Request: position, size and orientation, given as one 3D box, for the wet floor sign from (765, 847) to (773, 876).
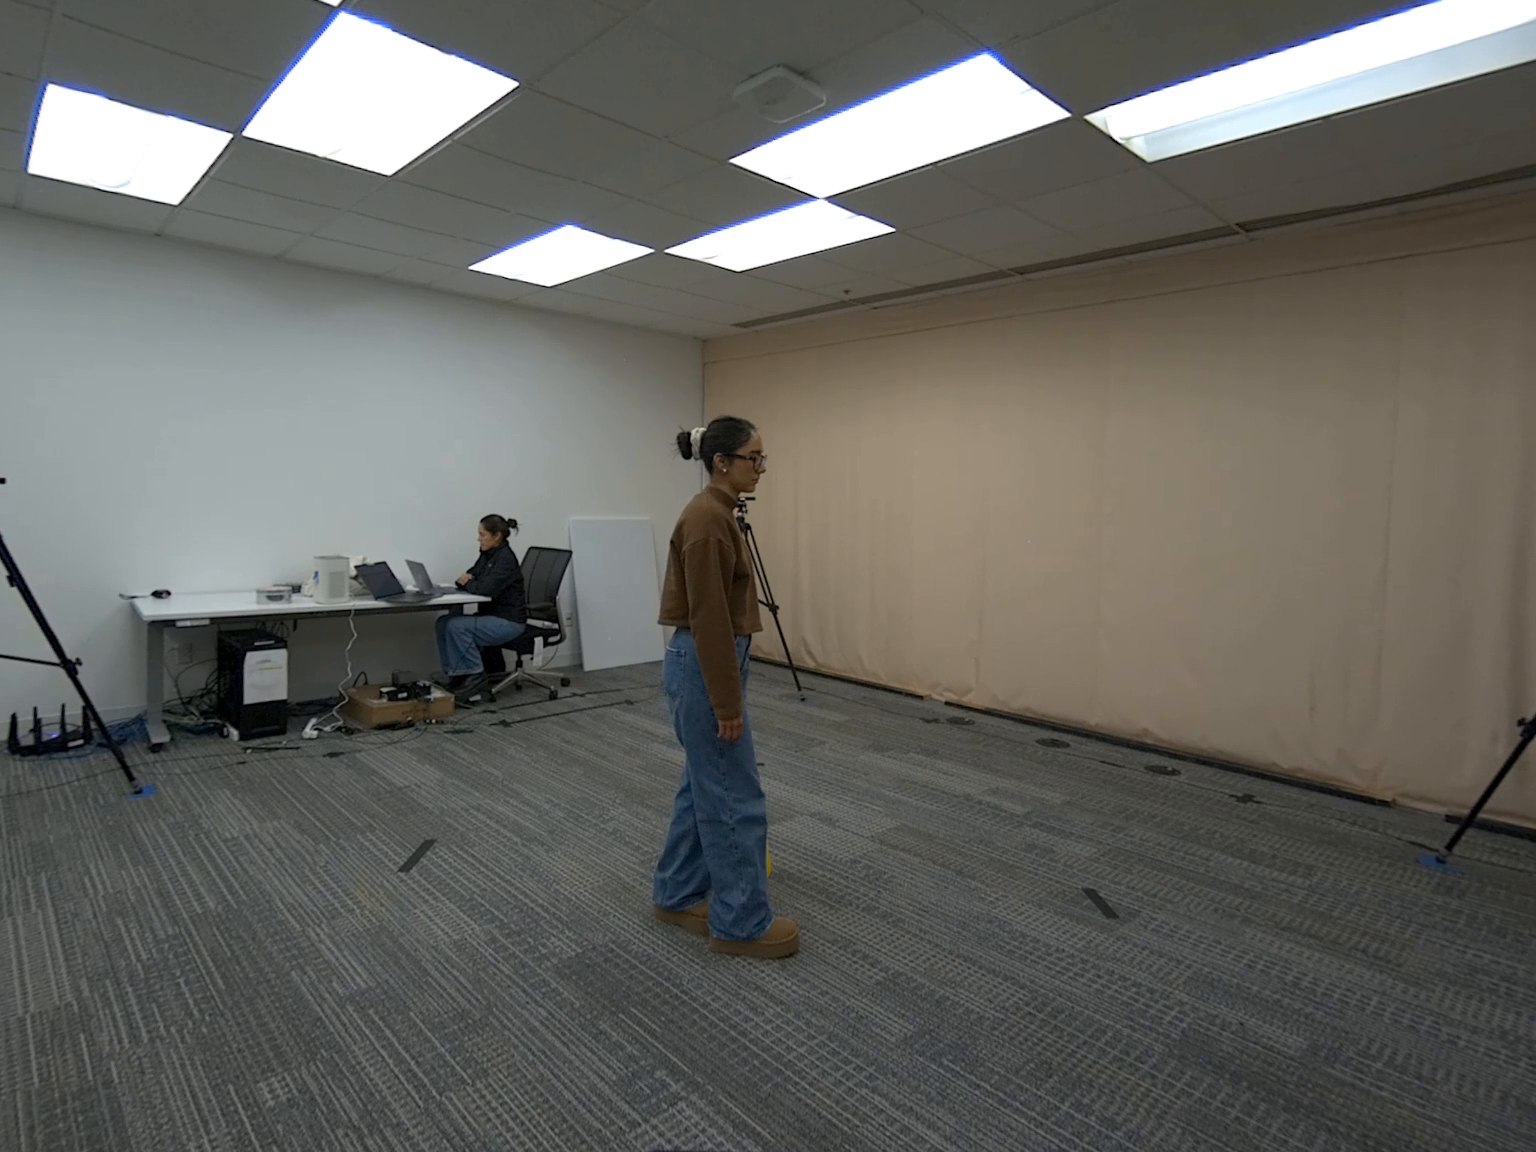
[{"bbox_3d":[-0.143,0.792,3.043,0.294,0.644,0.279,3,4,16],"label":"wet floor sign"}]
